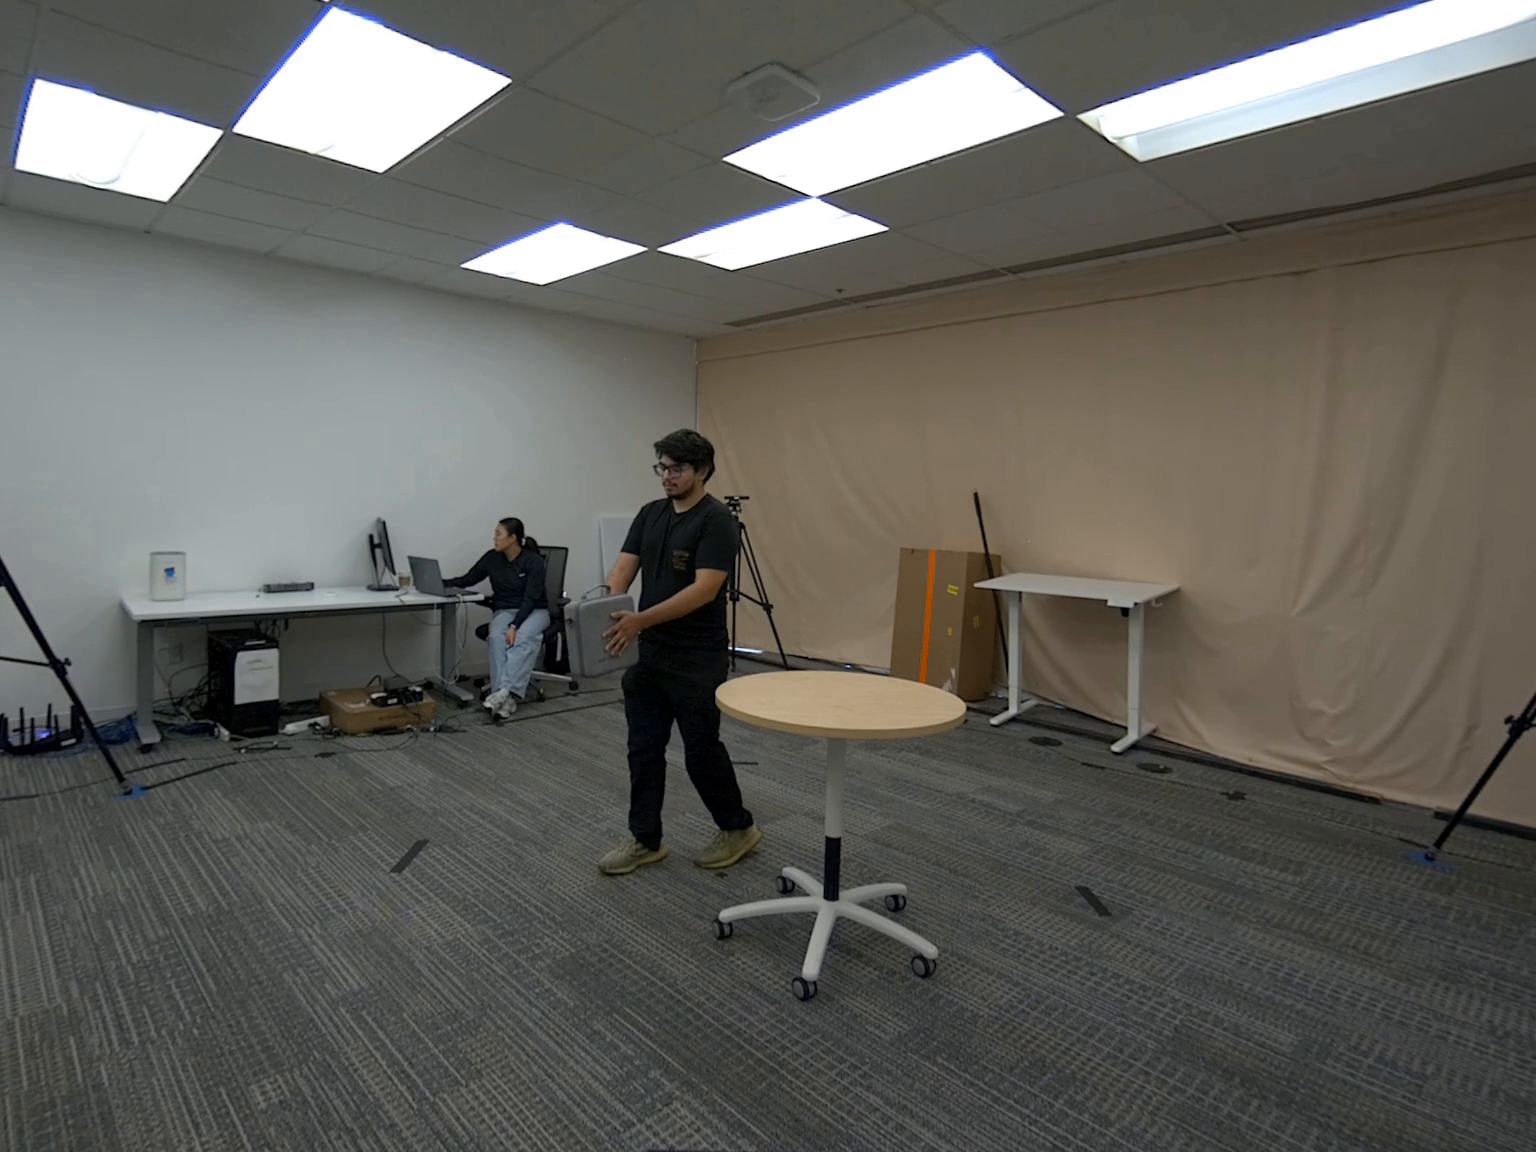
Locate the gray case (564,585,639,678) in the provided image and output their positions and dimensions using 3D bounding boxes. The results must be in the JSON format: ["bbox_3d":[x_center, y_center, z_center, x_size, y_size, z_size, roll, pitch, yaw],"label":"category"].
[{"bbox_3d":[-0.577,0.195,2.824,0.106,0.260,0.252,-4,3,31],"label":"gray case"}]
